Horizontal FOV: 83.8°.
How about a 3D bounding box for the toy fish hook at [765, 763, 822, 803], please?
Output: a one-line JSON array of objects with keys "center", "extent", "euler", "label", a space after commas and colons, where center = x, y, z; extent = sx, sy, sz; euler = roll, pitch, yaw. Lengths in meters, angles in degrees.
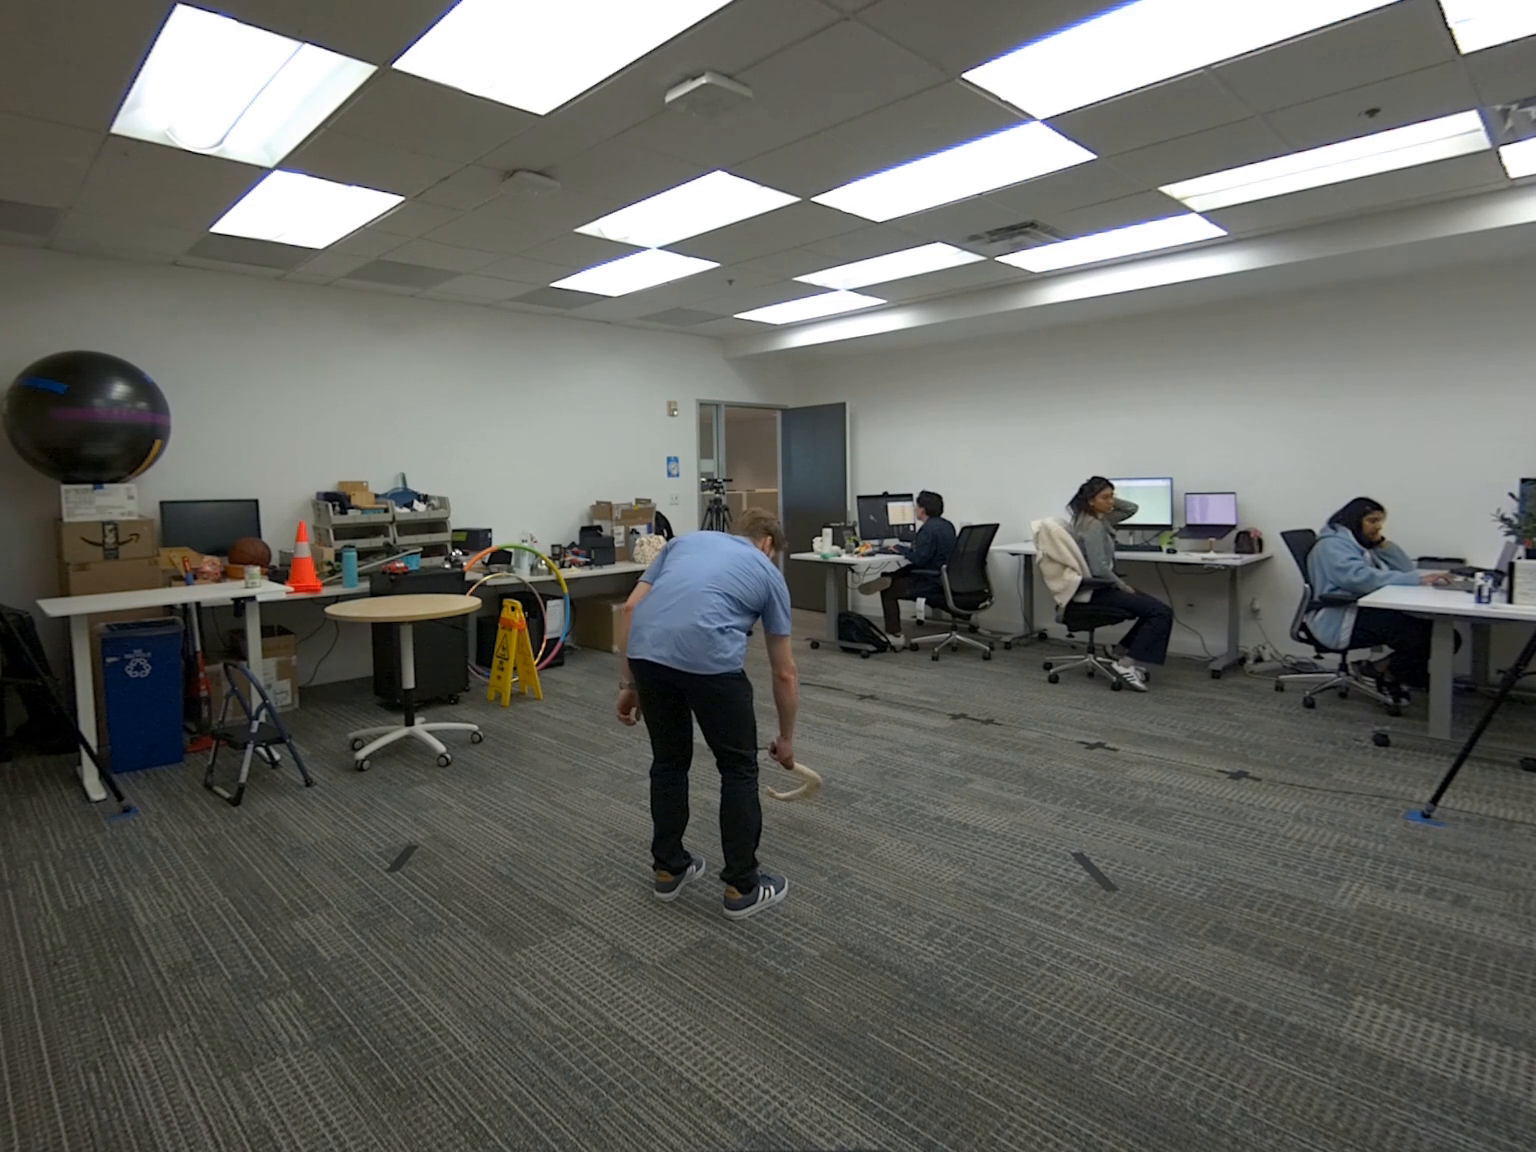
[{"center": [0.054, 0.764, 3.266], "extent": [0.225, 0.050, 0.488], "euler": [-25, -41, 3], "label": "toy fish hook"}]
